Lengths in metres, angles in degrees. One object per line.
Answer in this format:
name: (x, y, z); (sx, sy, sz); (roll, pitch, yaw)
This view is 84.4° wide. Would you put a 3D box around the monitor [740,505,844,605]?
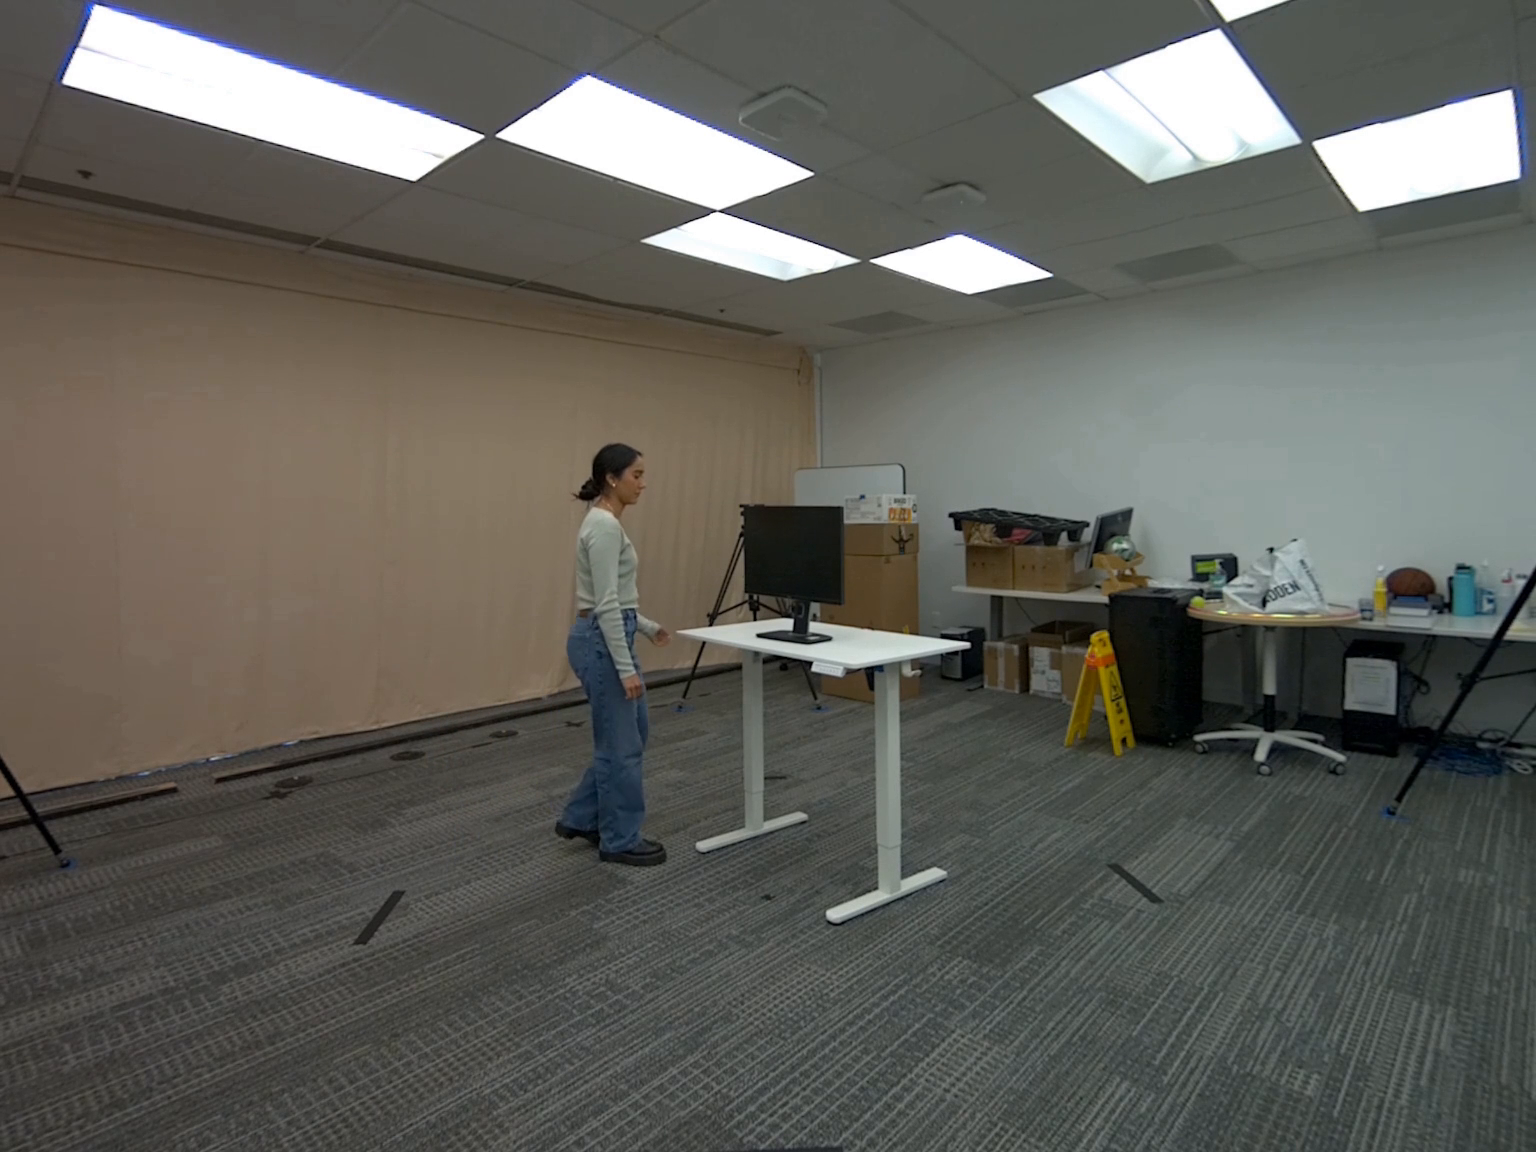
monitor: (0.109, -0.005, 3.184); (0.182, 0.520, 0.557); (-10, 10, -42)
